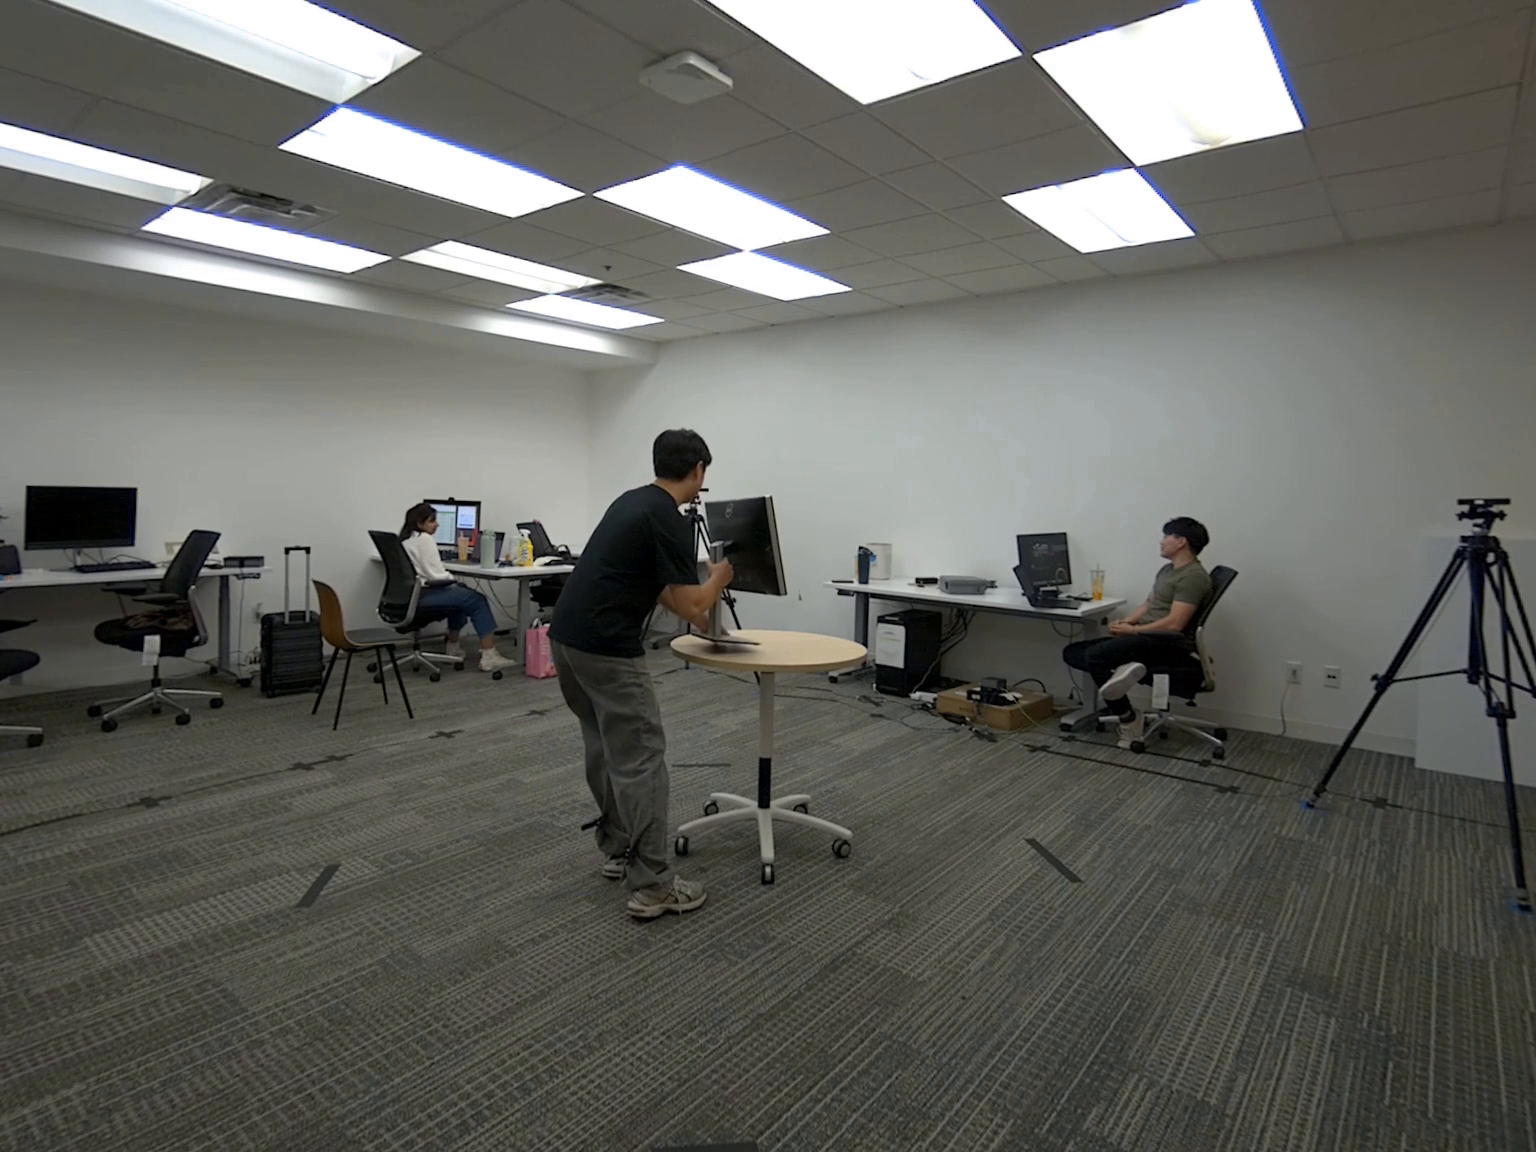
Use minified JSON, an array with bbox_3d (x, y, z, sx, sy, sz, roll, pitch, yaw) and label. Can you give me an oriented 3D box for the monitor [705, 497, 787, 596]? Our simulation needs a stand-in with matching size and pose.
[{"bbox_3d":[-0.144,-0.019,3.250,0.217,0.567,0.575,7,-1,-24],"label":"monitor"}]
